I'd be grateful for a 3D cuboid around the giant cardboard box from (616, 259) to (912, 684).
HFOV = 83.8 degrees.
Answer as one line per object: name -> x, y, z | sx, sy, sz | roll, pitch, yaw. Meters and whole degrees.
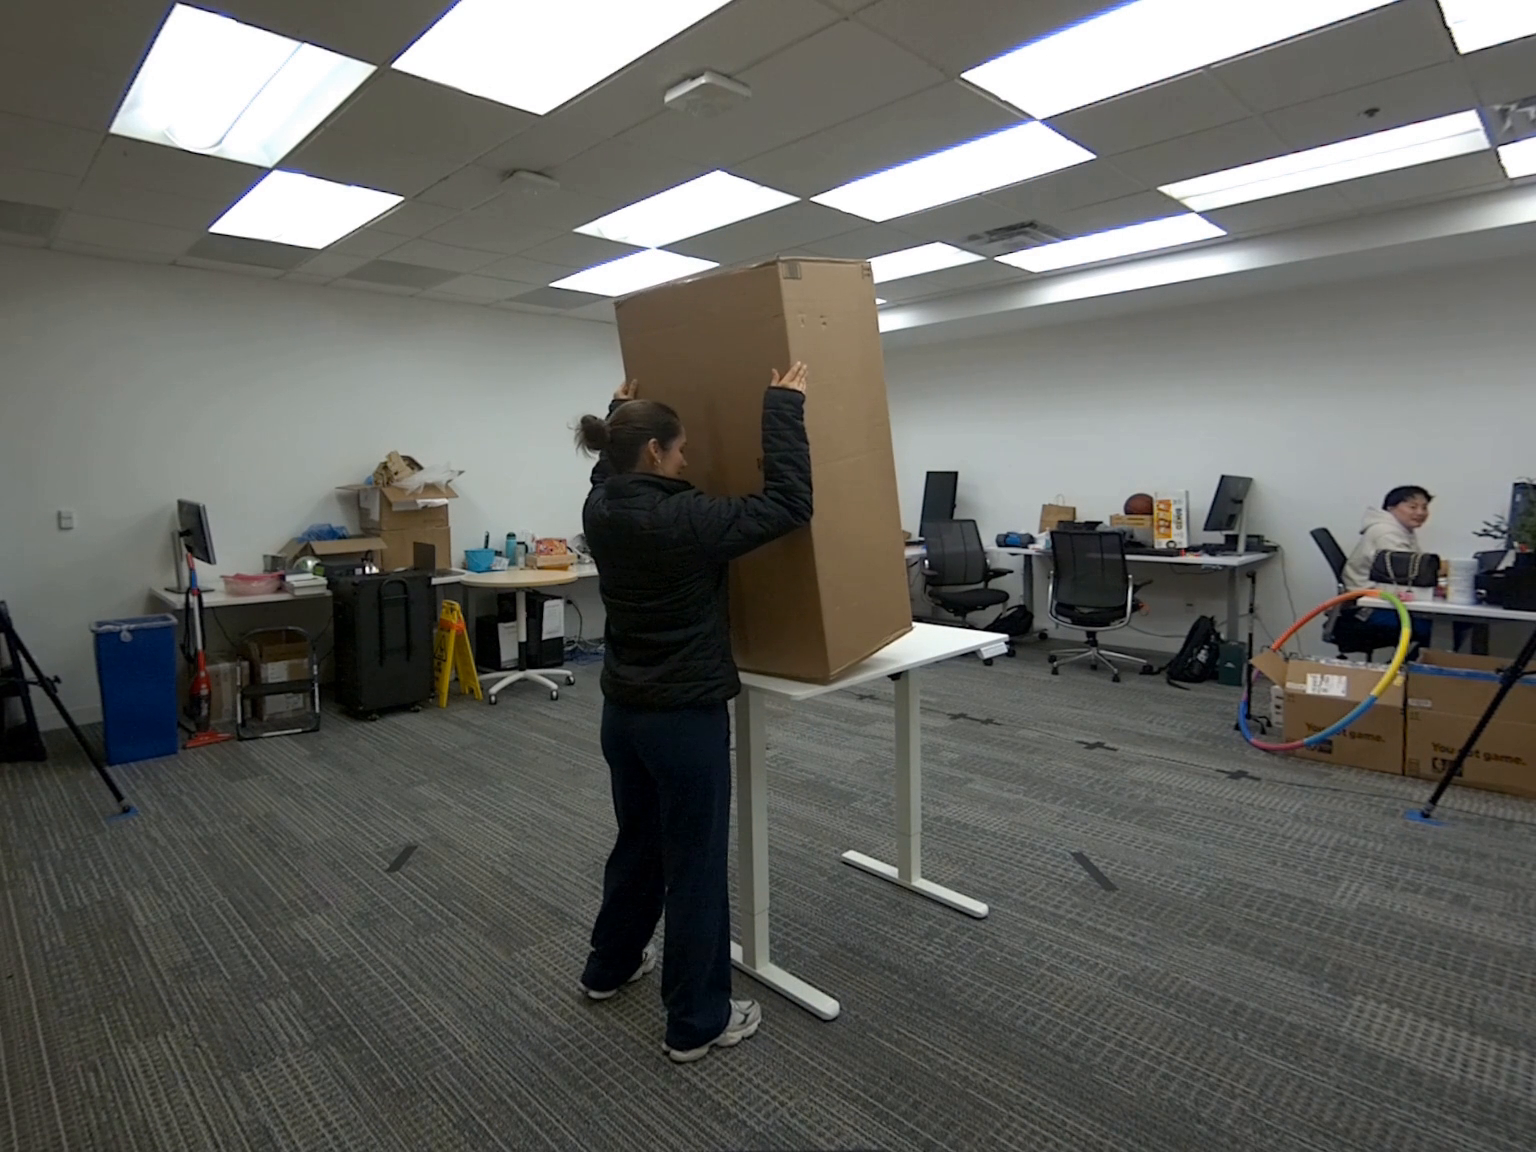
giant cardboard box -> -0.008, -0.296, 2.392 | 0.601, 1.017, 0.438 | 1, 12, 42
